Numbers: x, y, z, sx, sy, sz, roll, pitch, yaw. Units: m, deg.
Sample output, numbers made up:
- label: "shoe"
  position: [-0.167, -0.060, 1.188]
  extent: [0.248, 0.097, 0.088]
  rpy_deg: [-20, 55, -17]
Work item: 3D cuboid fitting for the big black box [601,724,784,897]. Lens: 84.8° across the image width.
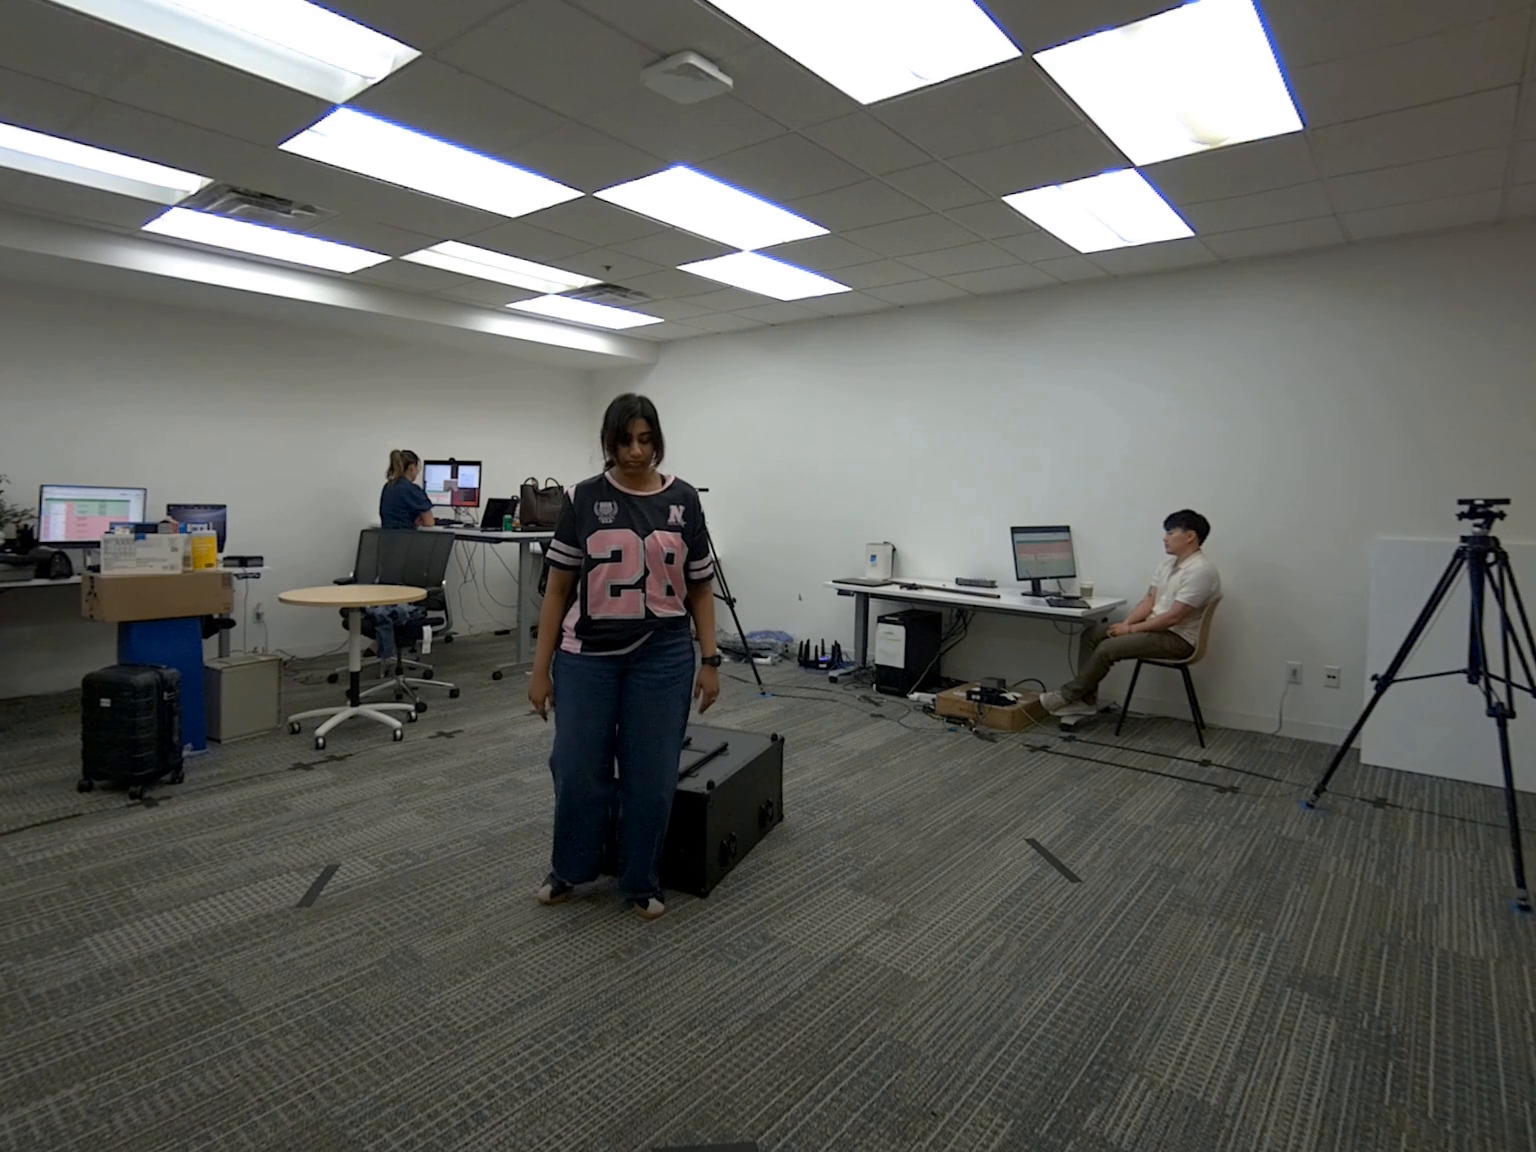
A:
- label: "big black box"
  position: [-0.298, 0.857, 3.363]
  extent: [0.535, 0.384, 0.852]
  rpy_deg: [1, 4, 21]
